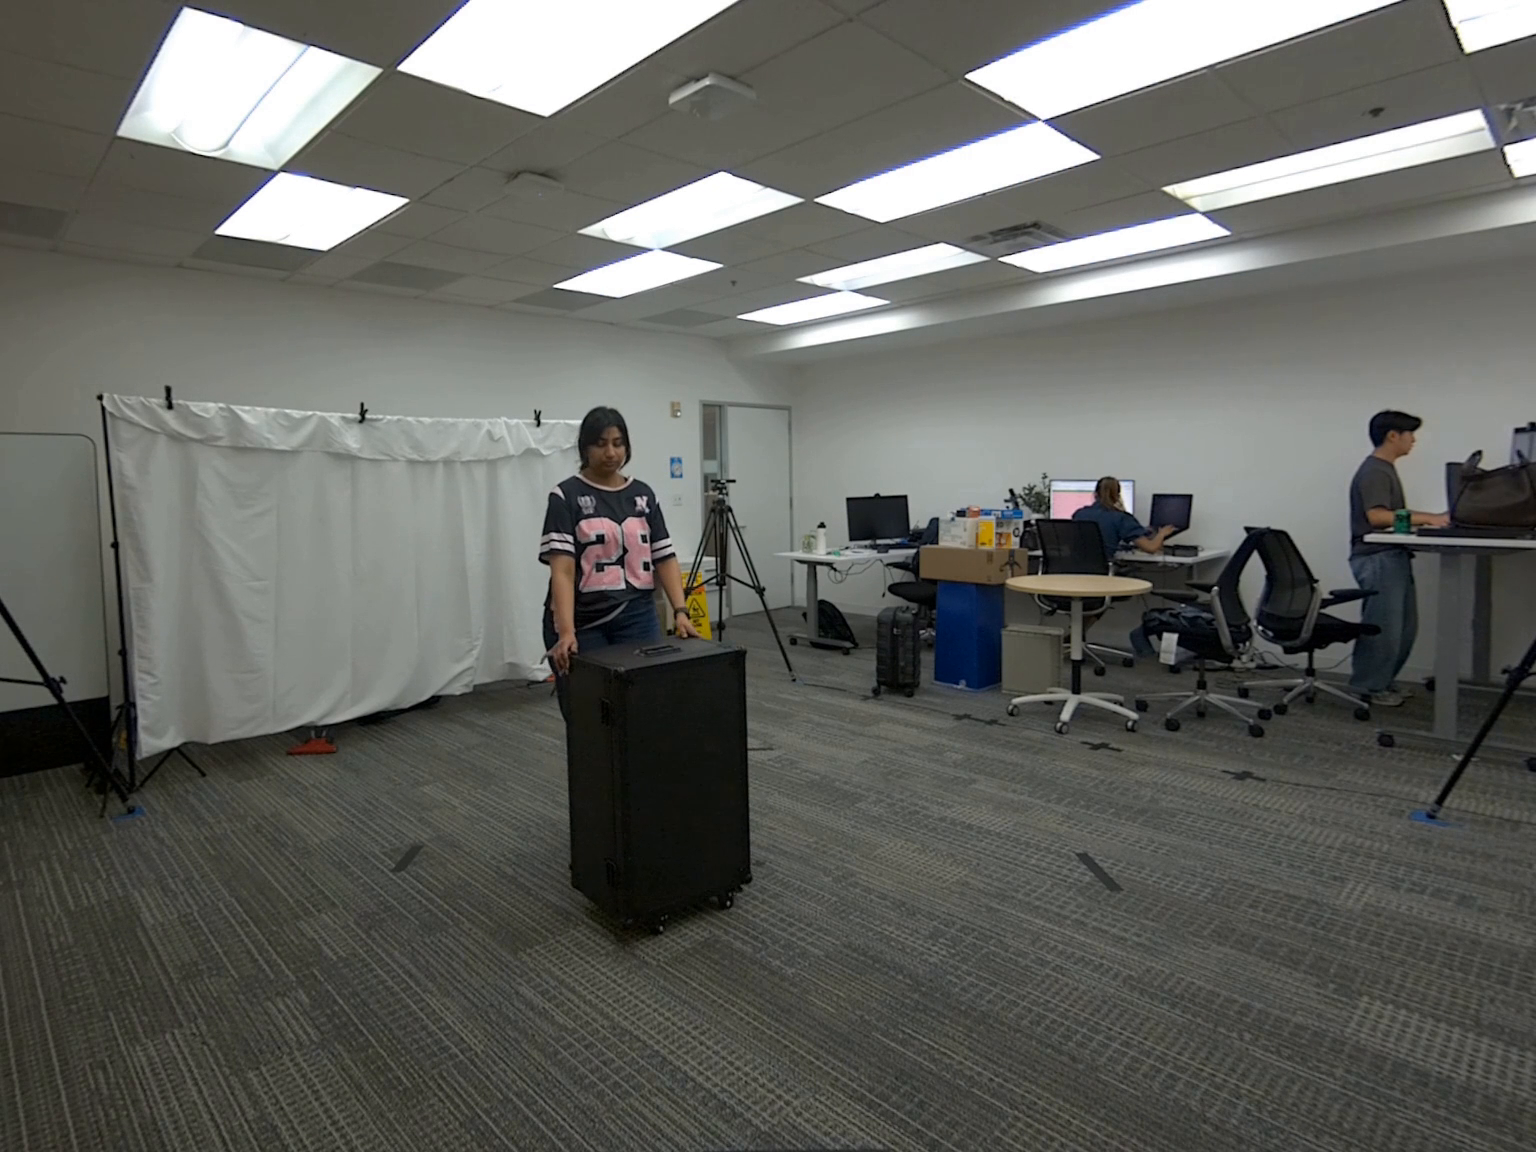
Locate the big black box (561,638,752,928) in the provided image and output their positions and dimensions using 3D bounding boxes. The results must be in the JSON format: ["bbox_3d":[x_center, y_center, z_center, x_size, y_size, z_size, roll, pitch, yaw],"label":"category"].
[{"bbox_3d":[-0.367,0.666,2.794,0.510,0.866,0.397,-4,5,-38],"label":"big black box"}]
